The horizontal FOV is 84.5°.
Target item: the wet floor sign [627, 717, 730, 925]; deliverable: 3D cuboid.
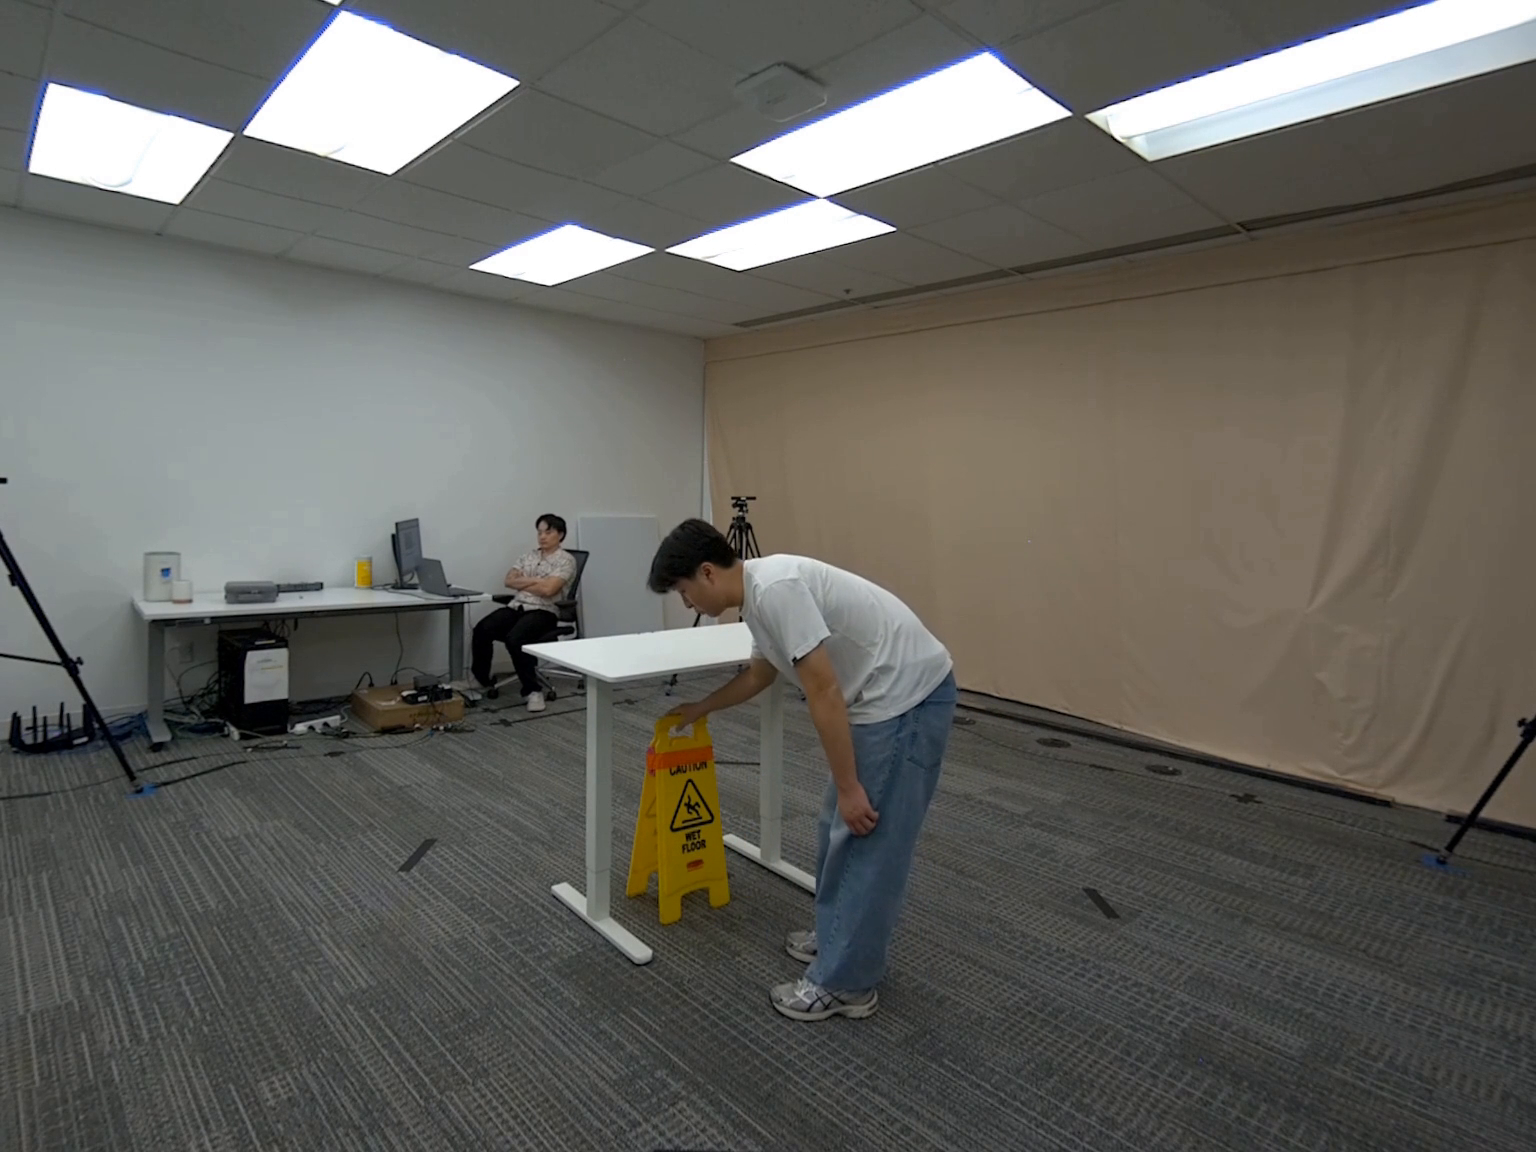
[{"bbox_3d":[-0.310,0.796,2.888,0.276,0.645,0.297,0,3,-38],"label":"wet floor sign"}]
